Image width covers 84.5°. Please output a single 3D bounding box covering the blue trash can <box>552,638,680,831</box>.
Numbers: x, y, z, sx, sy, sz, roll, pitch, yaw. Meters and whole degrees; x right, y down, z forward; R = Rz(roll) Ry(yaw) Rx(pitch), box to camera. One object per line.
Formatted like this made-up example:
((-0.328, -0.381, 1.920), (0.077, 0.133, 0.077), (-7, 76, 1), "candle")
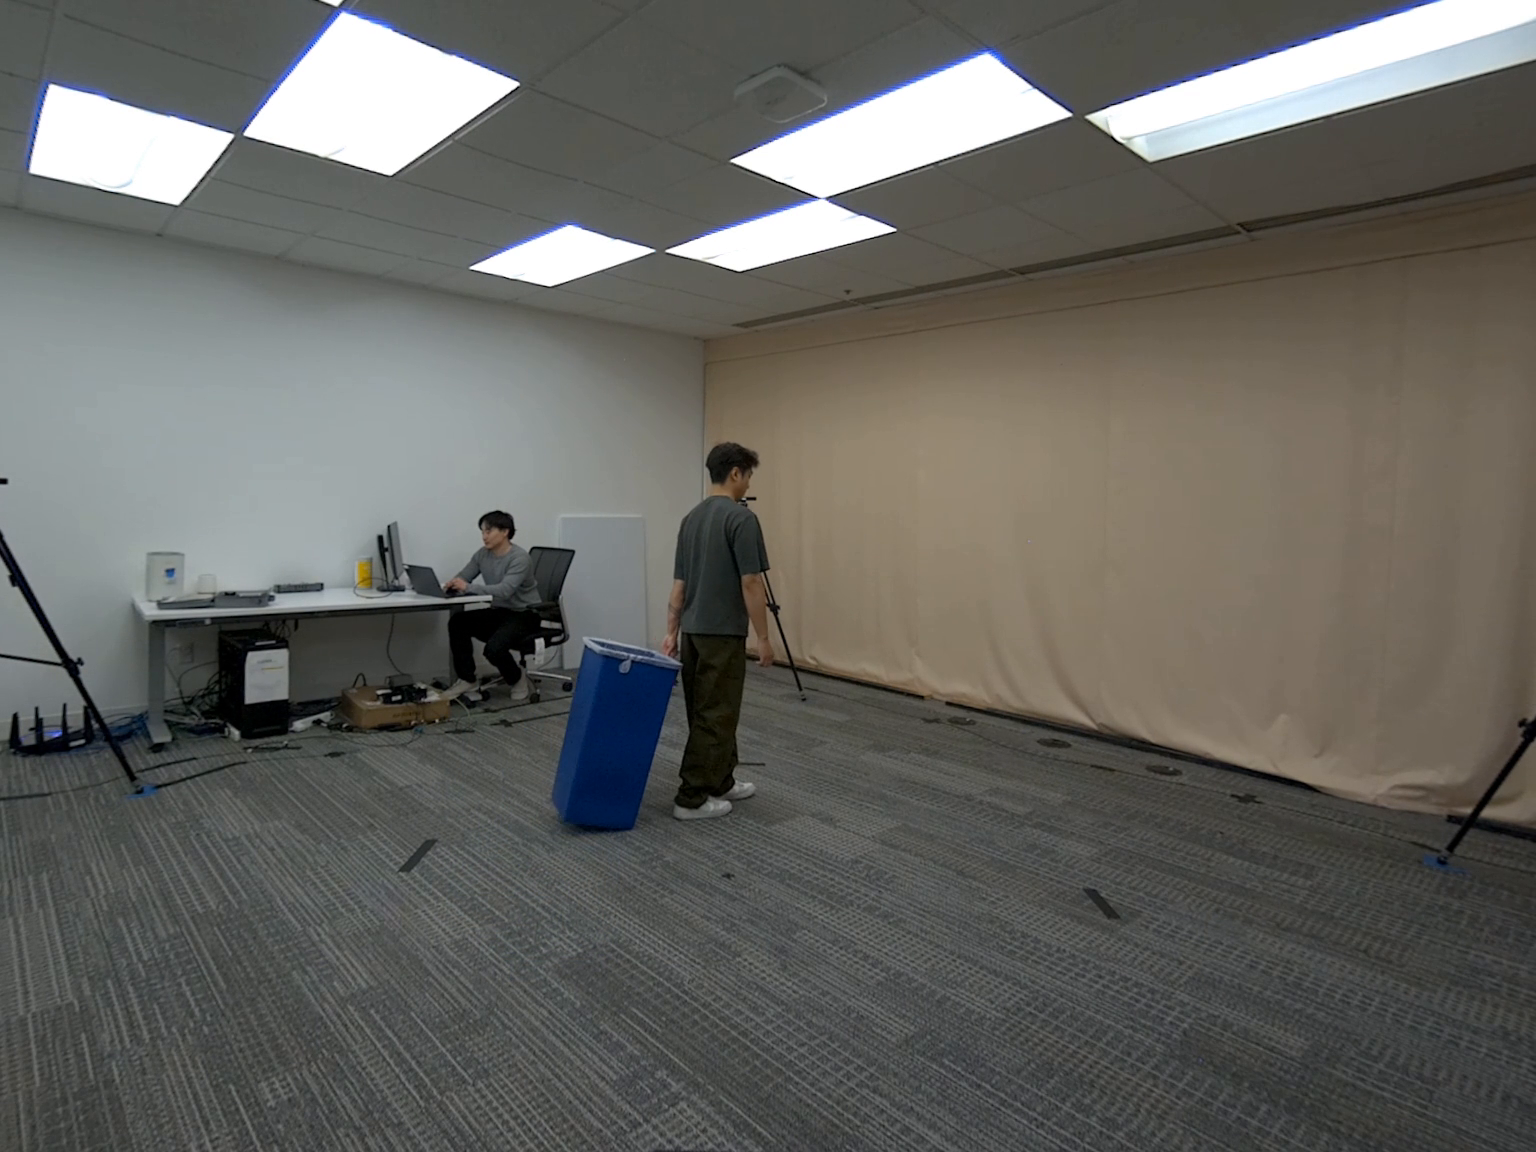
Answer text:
((-0.683, 0.667, 3.616), (0.370, 0.715, 0.381), (15, -3, -25), "blue trash can")
